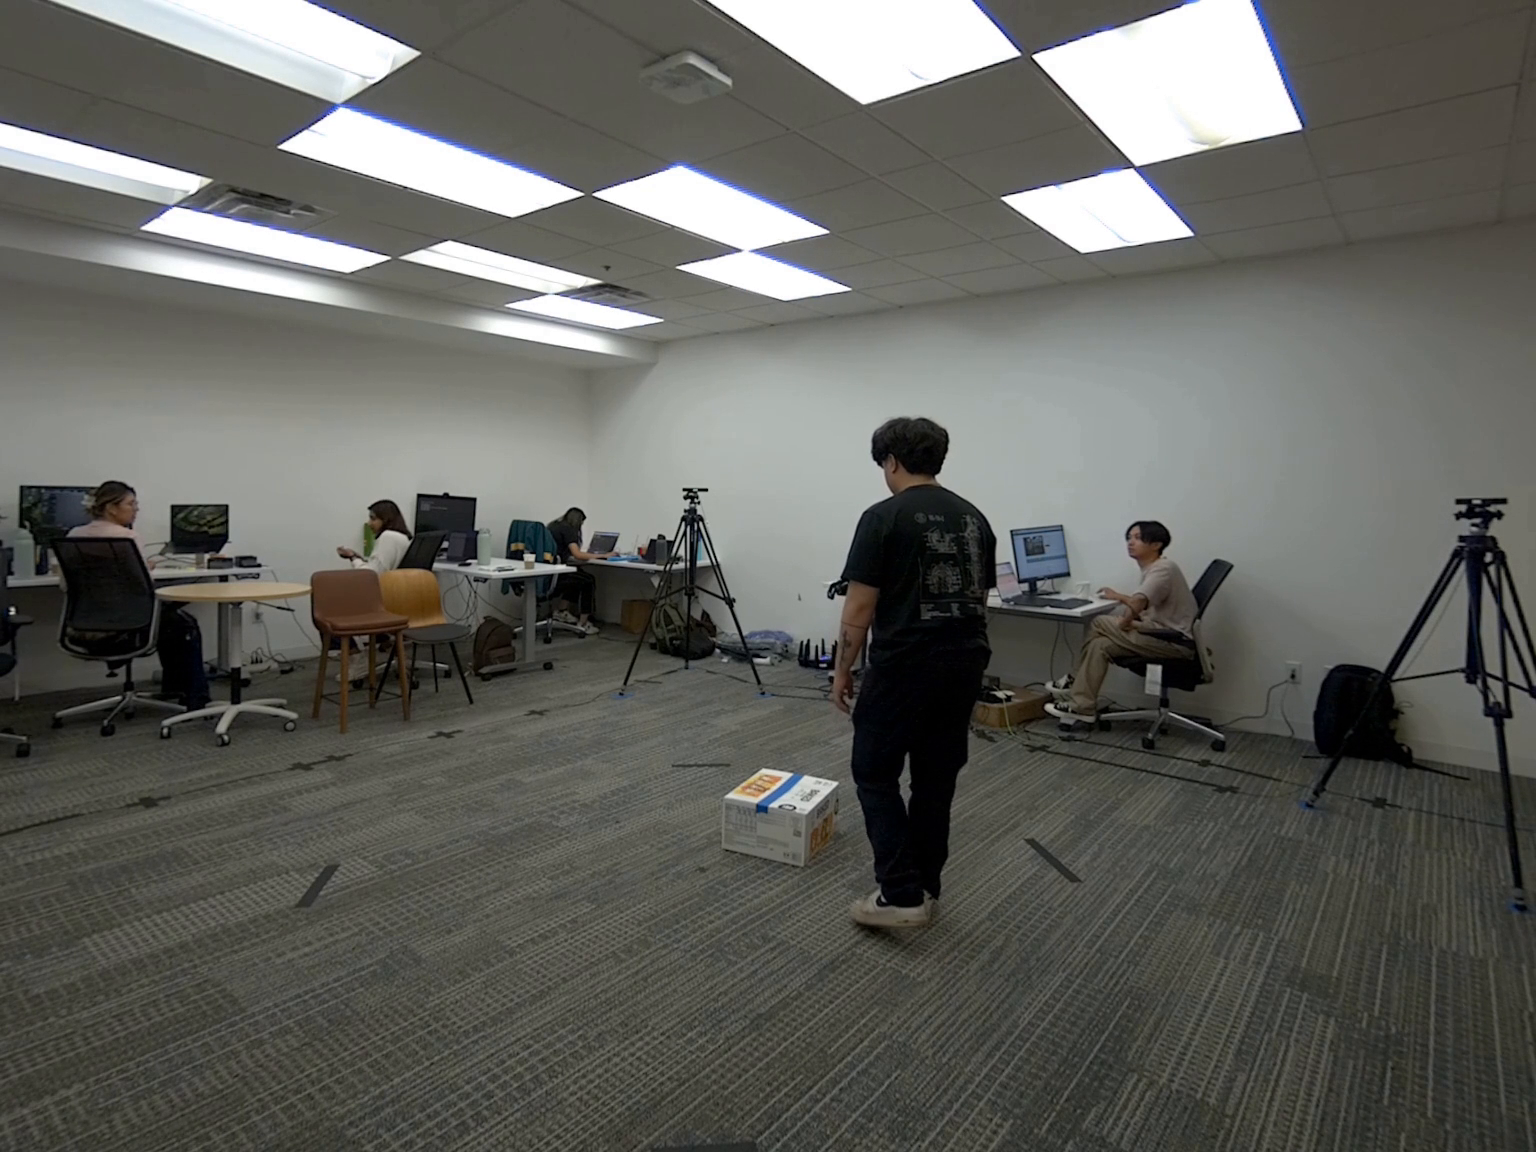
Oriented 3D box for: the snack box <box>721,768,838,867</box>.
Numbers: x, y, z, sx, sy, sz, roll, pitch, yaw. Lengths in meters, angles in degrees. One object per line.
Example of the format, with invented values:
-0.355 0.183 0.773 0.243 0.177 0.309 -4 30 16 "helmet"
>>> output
0.048 0.944 3.380 0.349 0.205 0.396 3 6 24 "snack box"
